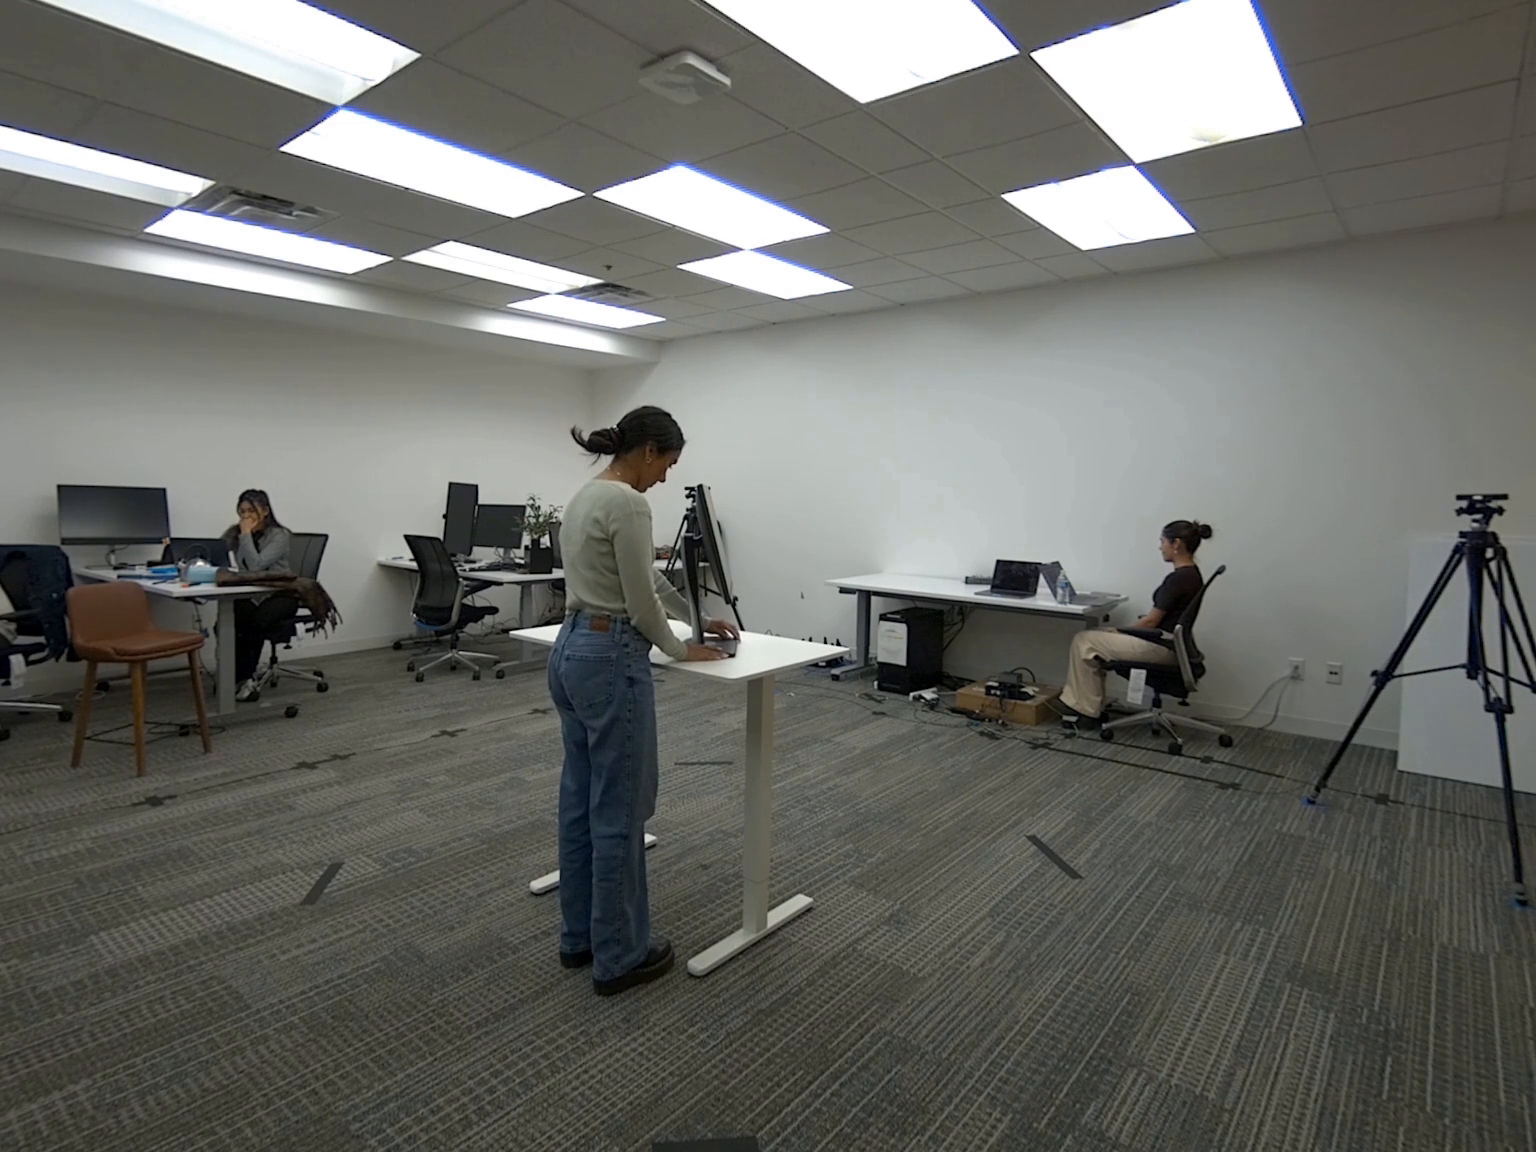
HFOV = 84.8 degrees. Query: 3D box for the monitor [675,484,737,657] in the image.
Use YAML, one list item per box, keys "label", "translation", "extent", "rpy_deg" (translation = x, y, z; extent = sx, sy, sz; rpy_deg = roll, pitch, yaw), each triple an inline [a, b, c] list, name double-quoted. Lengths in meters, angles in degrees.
- label: "monitor"
  translation: [-0.194, -0.029, 2.668]
  extent: [0.175, 0.514, 0.531]
  rpy_deg: [4, 4, -1]
